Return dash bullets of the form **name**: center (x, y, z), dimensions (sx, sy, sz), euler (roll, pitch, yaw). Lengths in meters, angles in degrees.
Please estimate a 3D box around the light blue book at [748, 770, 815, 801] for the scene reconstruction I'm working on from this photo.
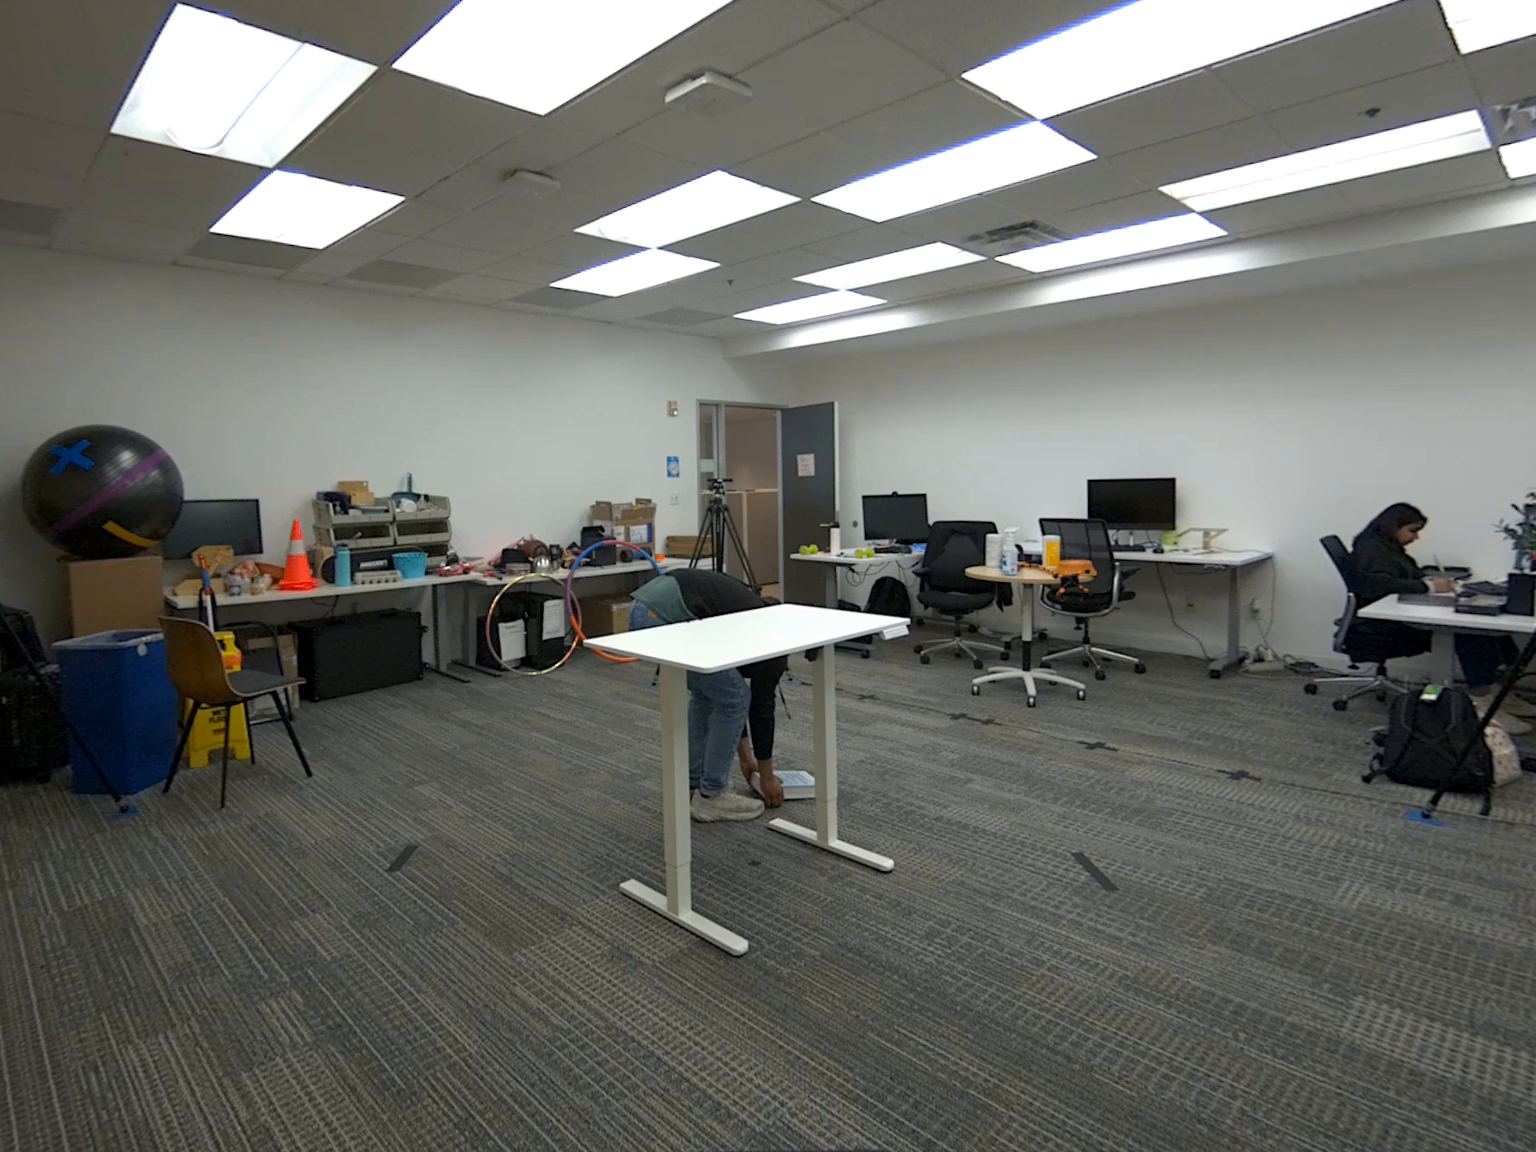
- **light blue book**: center (0.077, 0.915, 3.786), dimensions (0.256, 0.059, 0.196), euler (3, 7, -21)
